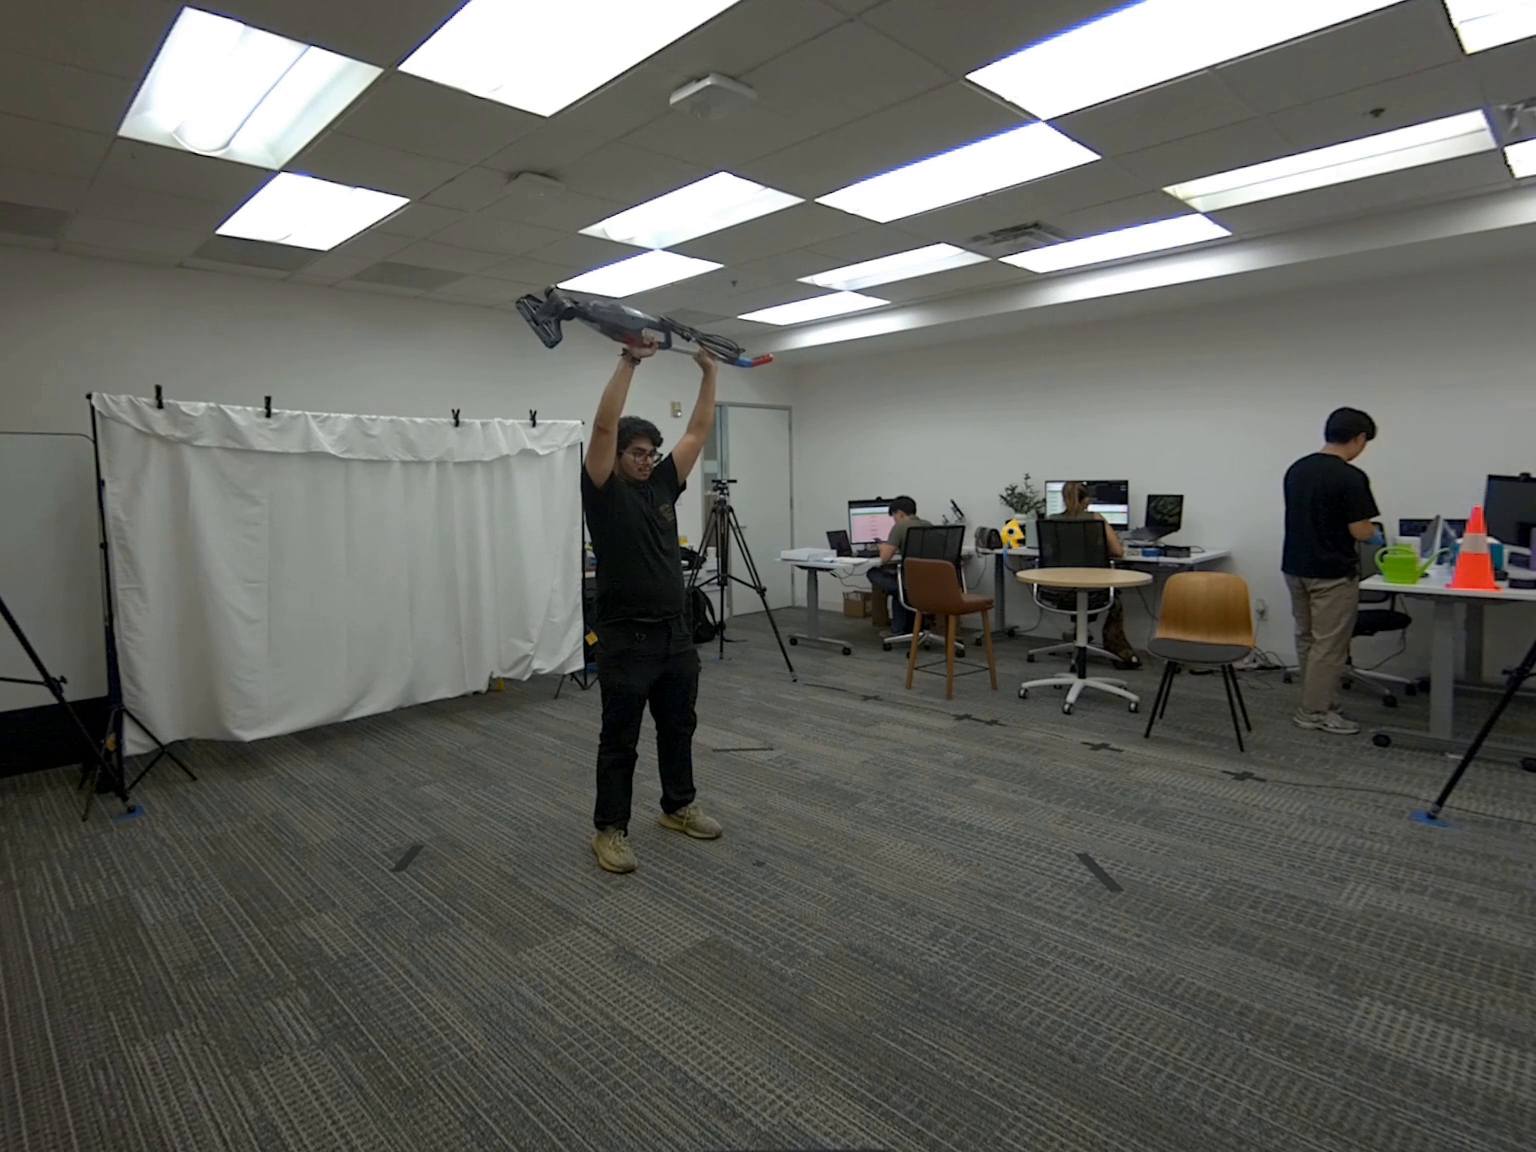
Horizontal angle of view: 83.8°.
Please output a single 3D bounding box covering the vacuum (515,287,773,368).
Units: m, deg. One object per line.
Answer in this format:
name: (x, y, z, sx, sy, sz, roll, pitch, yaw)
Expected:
vacuum: (-0.341, -0.855, 3.021, 1.021, 0.142, 0.262, -6, 40, -47)
